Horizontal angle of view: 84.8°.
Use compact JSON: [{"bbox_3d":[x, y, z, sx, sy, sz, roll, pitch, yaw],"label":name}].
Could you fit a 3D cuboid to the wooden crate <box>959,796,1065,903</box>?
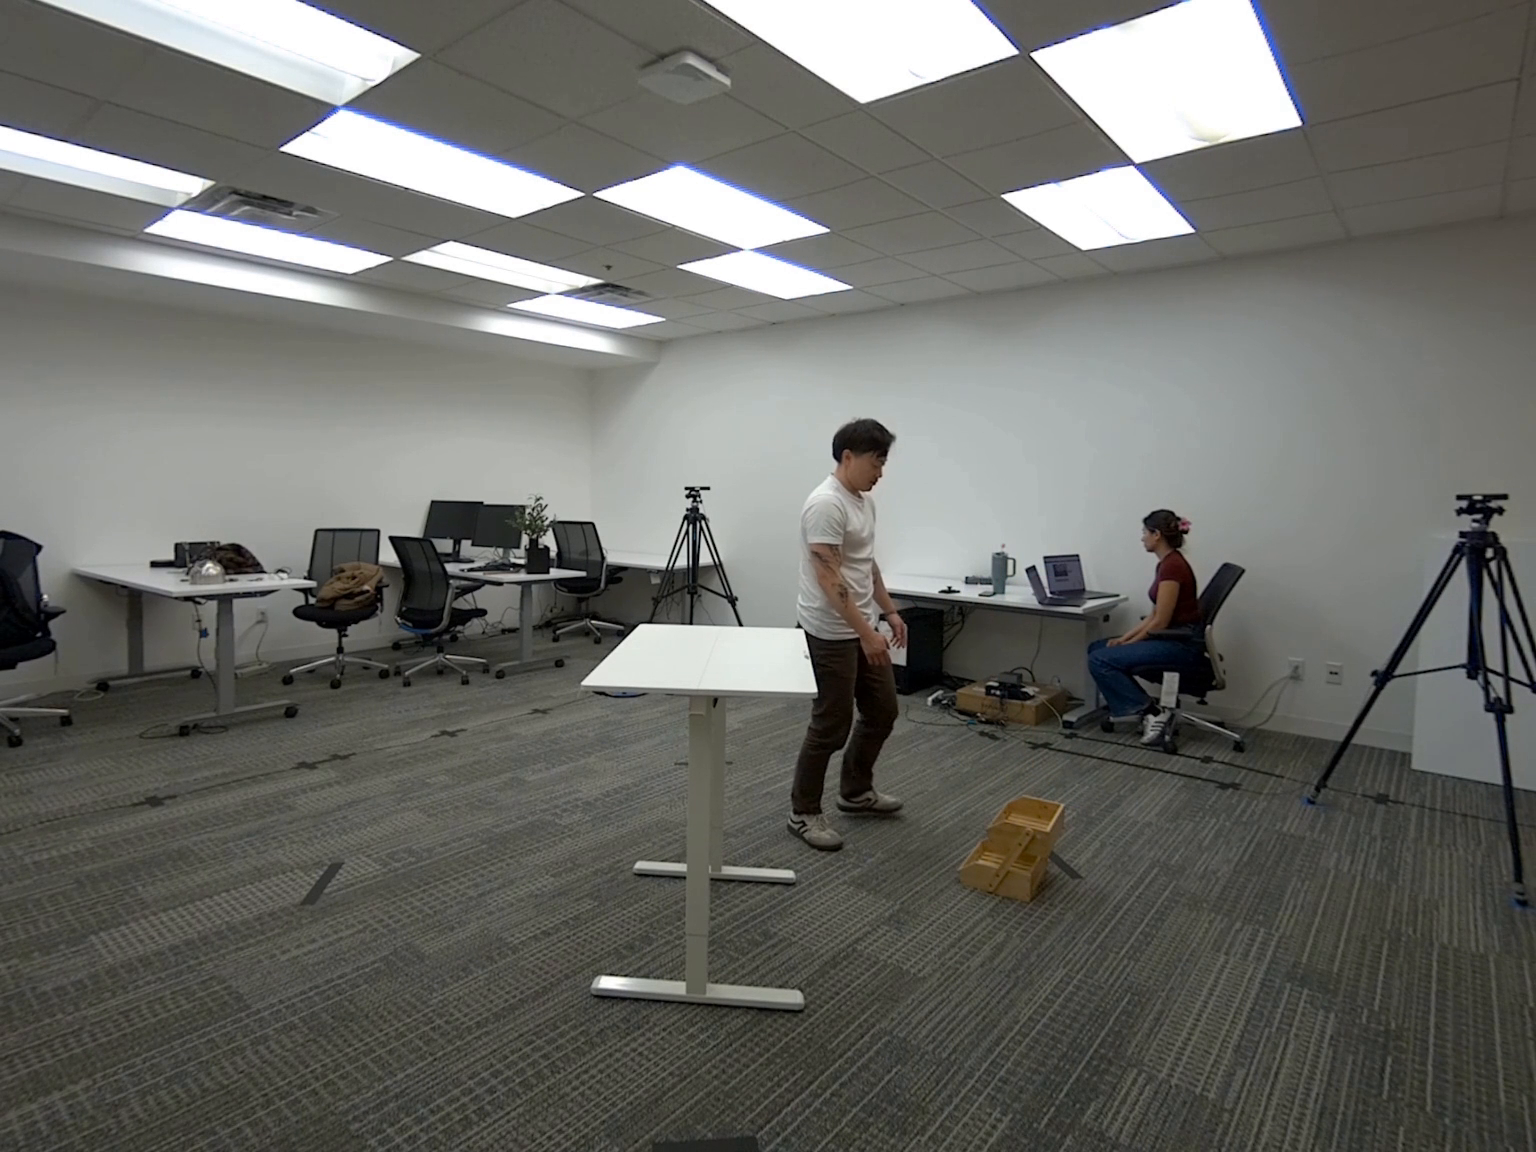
[{"bbox_3d":[0.869,0.952,3.069,0.311,0.272,0.316,5,6,30],"label":"wooden crate"}]
